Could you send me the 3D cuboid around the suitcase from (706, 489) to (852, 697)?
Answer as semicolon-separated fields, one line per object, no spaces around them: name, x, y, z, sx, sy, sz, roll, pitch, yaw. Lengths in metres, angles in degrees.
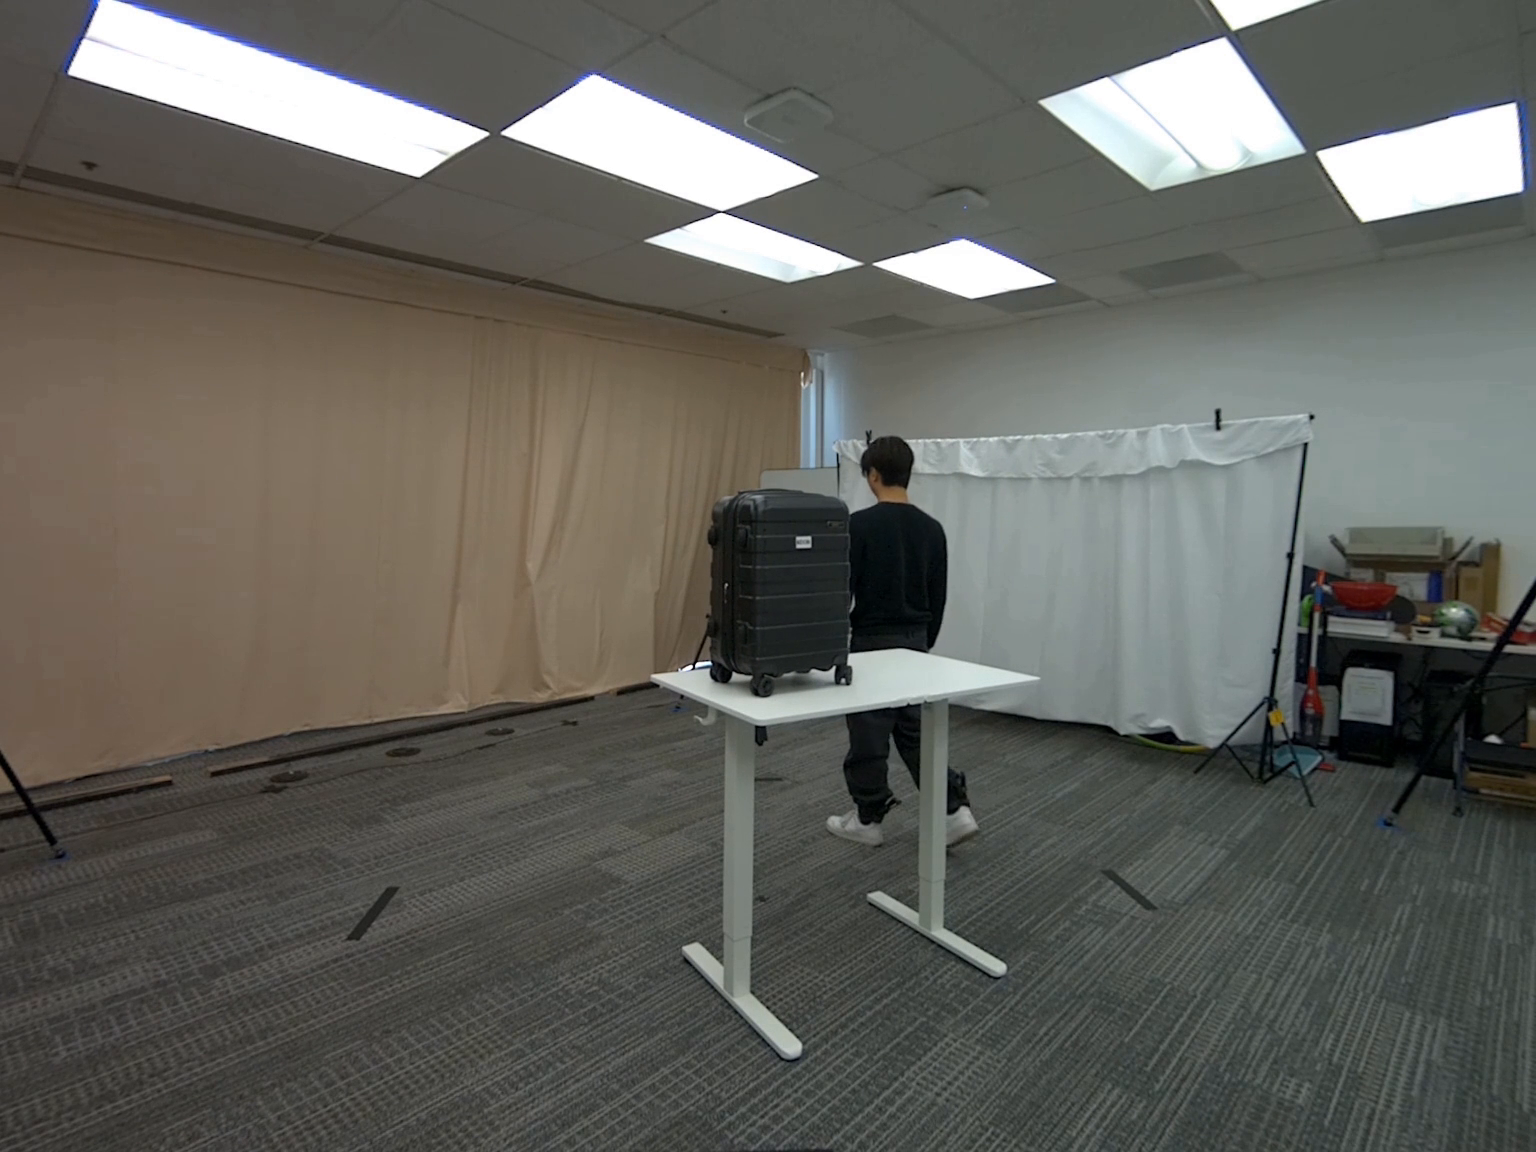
suitcase;0.039;0.032;2.380;0.365;0.548;0.256;-1;4;-33
